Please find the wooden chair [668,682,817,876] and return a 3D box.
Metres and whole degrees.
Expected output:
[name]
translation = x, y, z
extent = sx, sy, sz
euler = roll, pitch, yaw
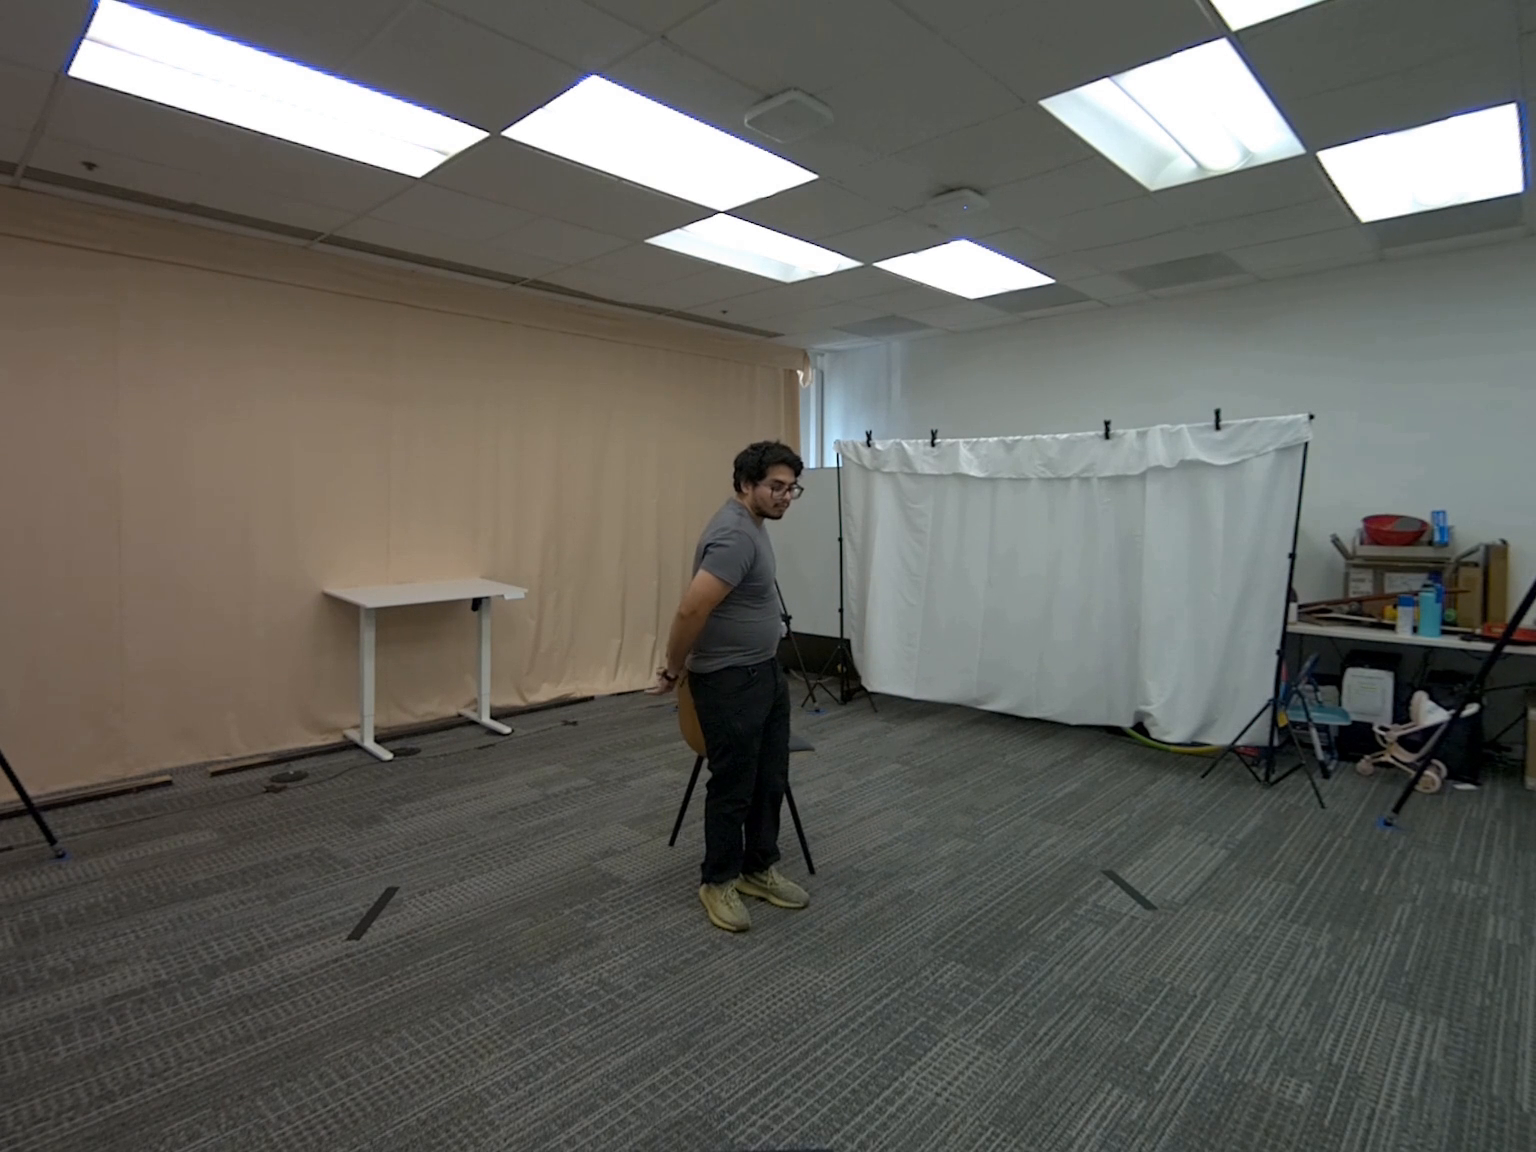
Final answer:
[wooden chair]
translation = -0.103, 0.691, 3.297
extent = 0.514, 0.875, 0.488
euler = -6, 4, -19
